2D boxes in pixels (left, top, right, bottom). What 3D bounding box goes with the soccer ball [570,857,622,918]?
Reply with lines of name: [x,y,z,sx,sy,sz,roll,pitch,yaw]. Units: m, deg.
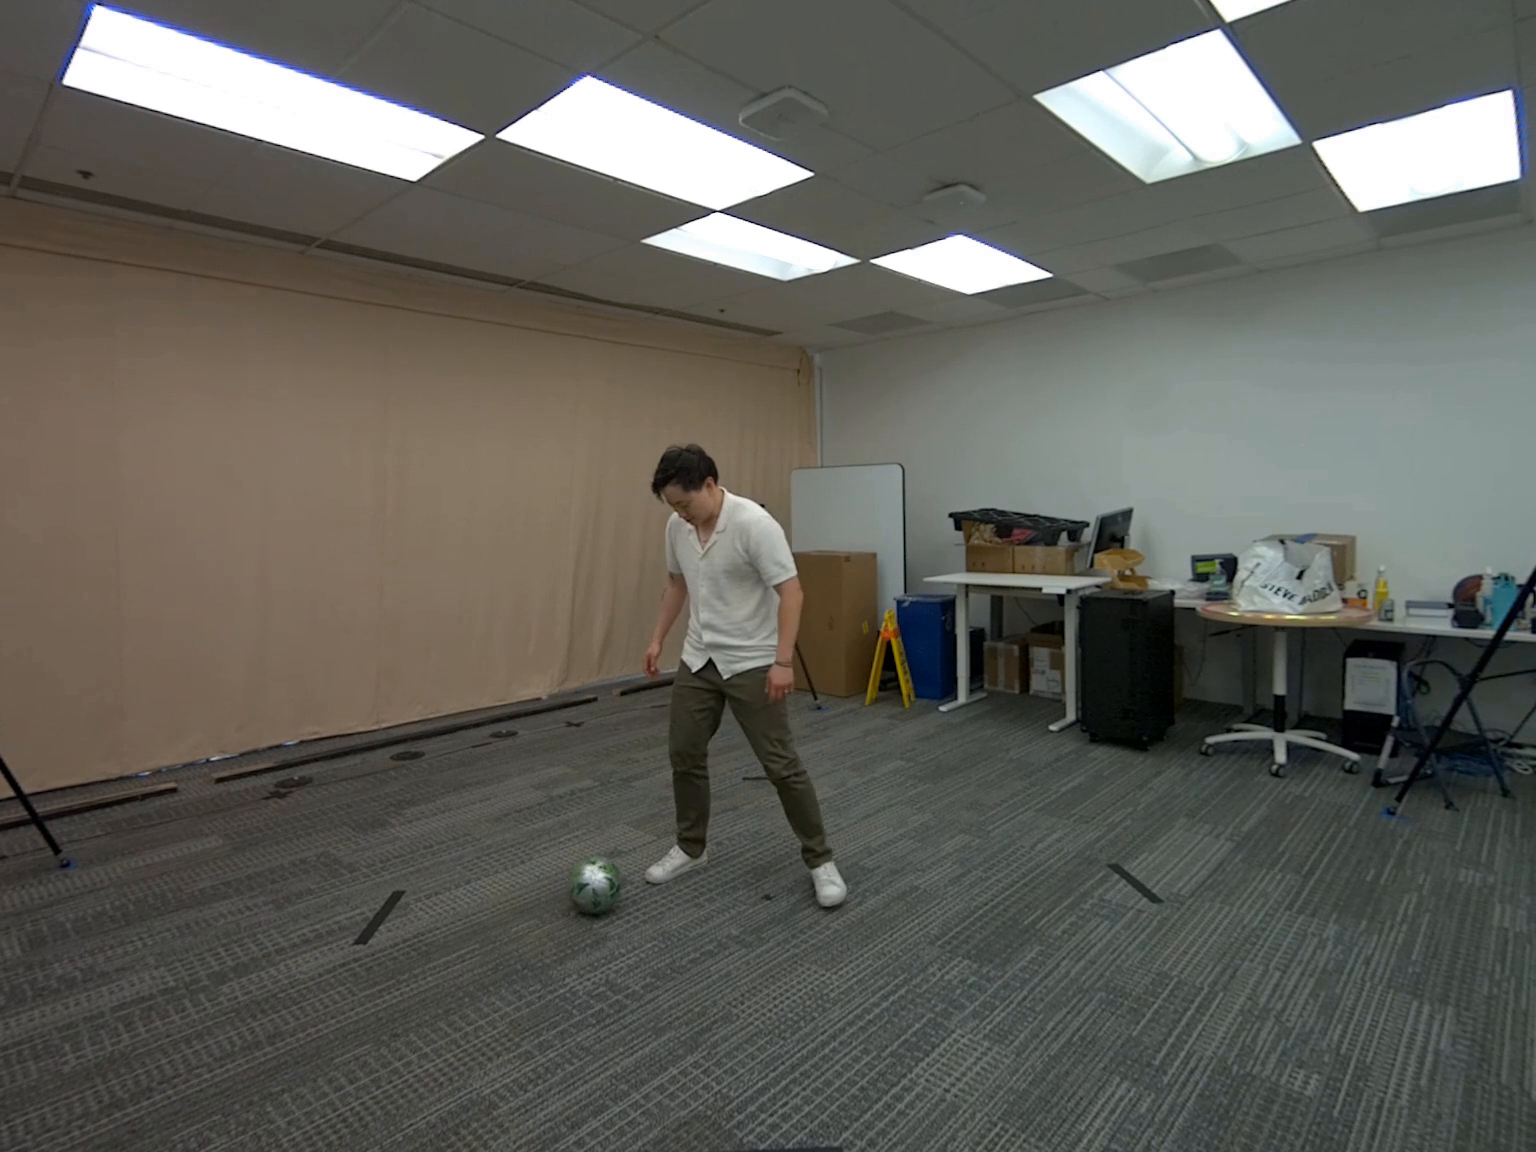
soccer ball: [-0.595,1.076,2.912,0.187,0.187,0.188,-1,4,-2]
